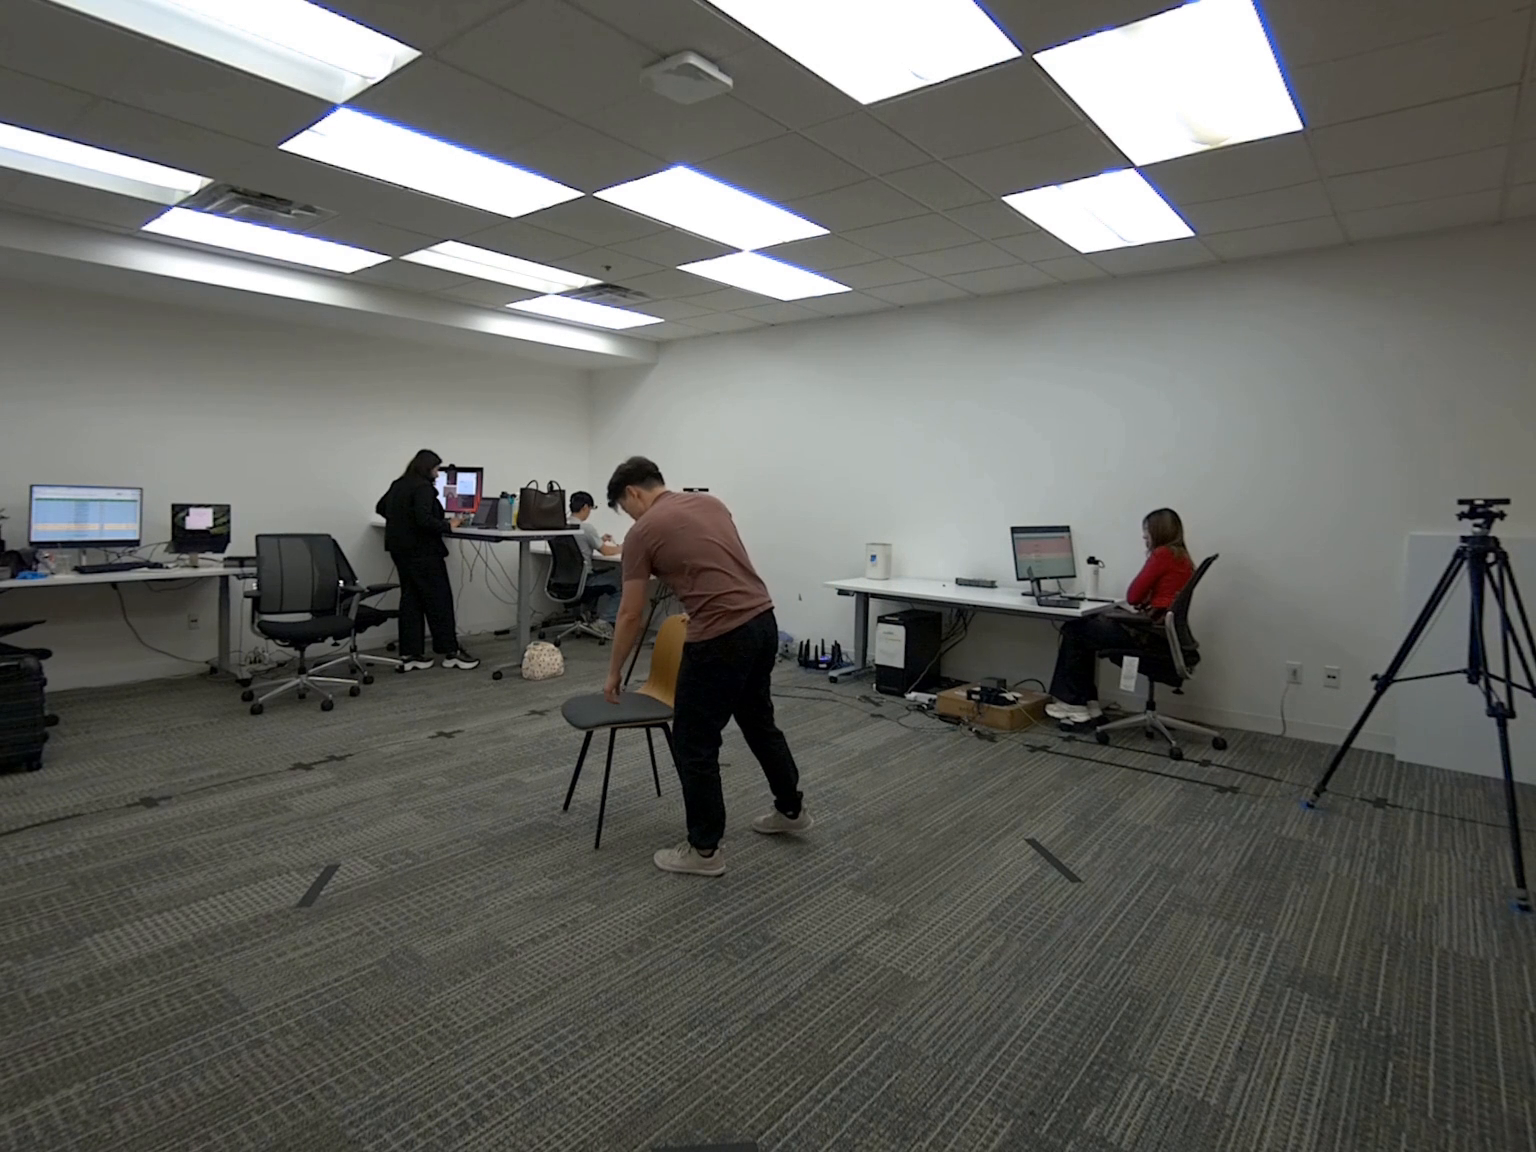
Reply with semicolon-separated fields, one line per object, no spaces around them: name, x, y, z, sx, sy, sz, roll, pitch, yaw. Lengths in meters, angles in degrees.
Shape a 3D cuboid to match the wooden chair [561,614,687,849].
wooden chair;-0.590;0.595;3.531;0.509;0.876;0.492;4;2;-28
